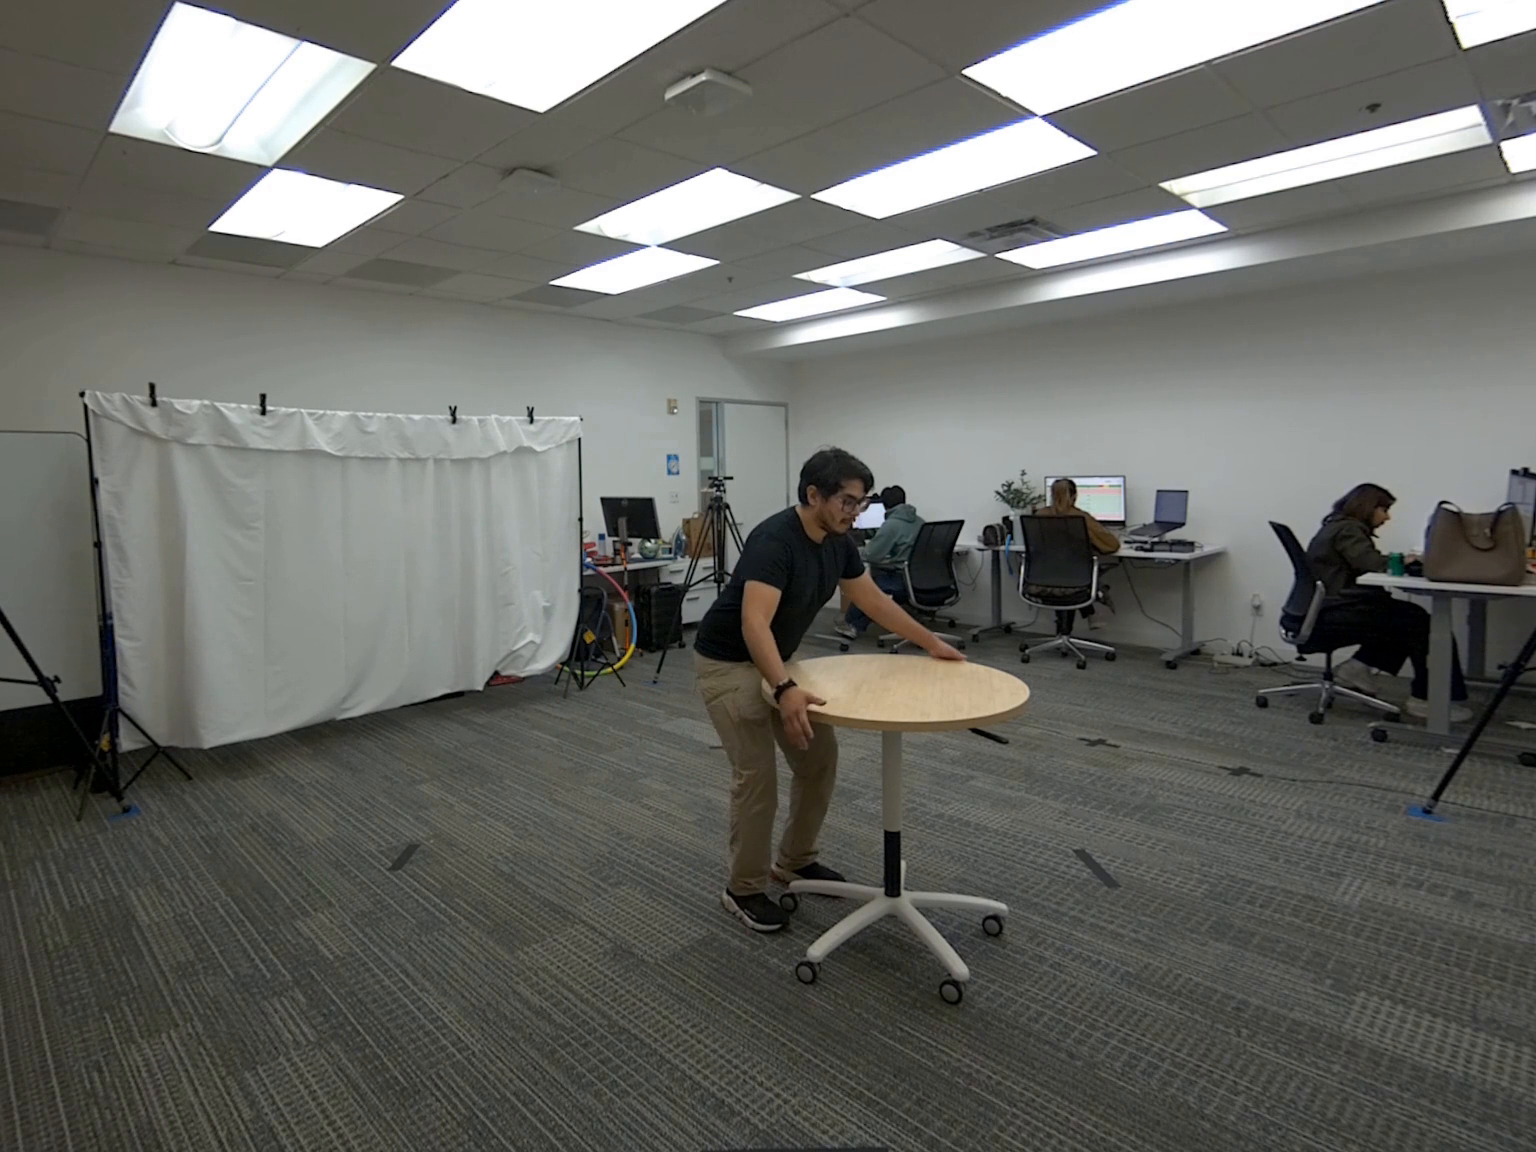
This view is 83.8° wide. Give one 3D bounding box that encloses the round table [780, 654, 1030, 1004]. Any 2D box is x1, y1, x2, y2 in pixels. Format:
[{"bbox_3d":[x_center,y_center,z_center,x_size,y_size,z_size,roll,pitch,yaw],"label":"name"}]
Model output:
[{"bbox_3d":[0.384,0.697,2.551,0.784,0.782,0.790,-1,6,-2],"label":"round table"}]
